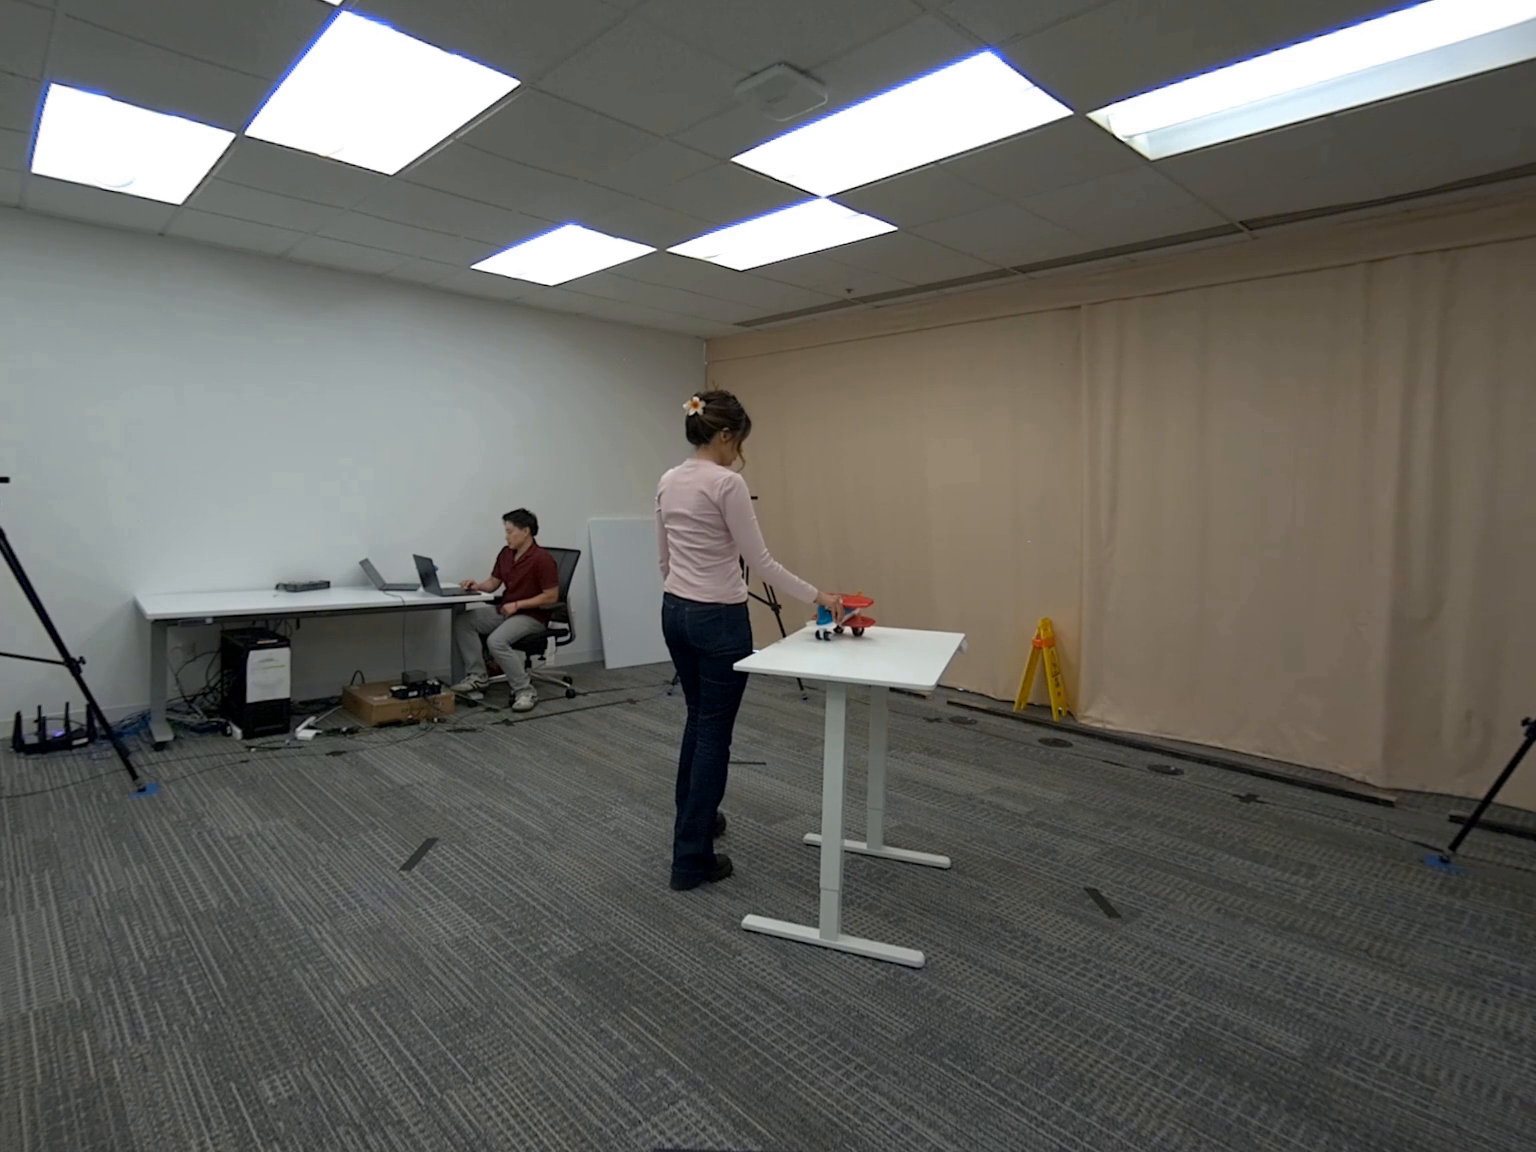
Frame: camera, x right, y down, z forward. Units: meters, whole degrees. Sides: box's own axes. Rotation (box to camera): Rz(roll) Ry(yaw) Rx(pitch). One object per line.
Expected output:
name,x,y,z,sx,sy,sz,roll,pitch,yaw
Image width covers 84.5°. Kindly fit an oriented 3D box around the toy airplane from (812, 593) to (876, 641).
toy airplane,0.266,0.152,3.121,0.253,0.156,0.258,1,4,8
